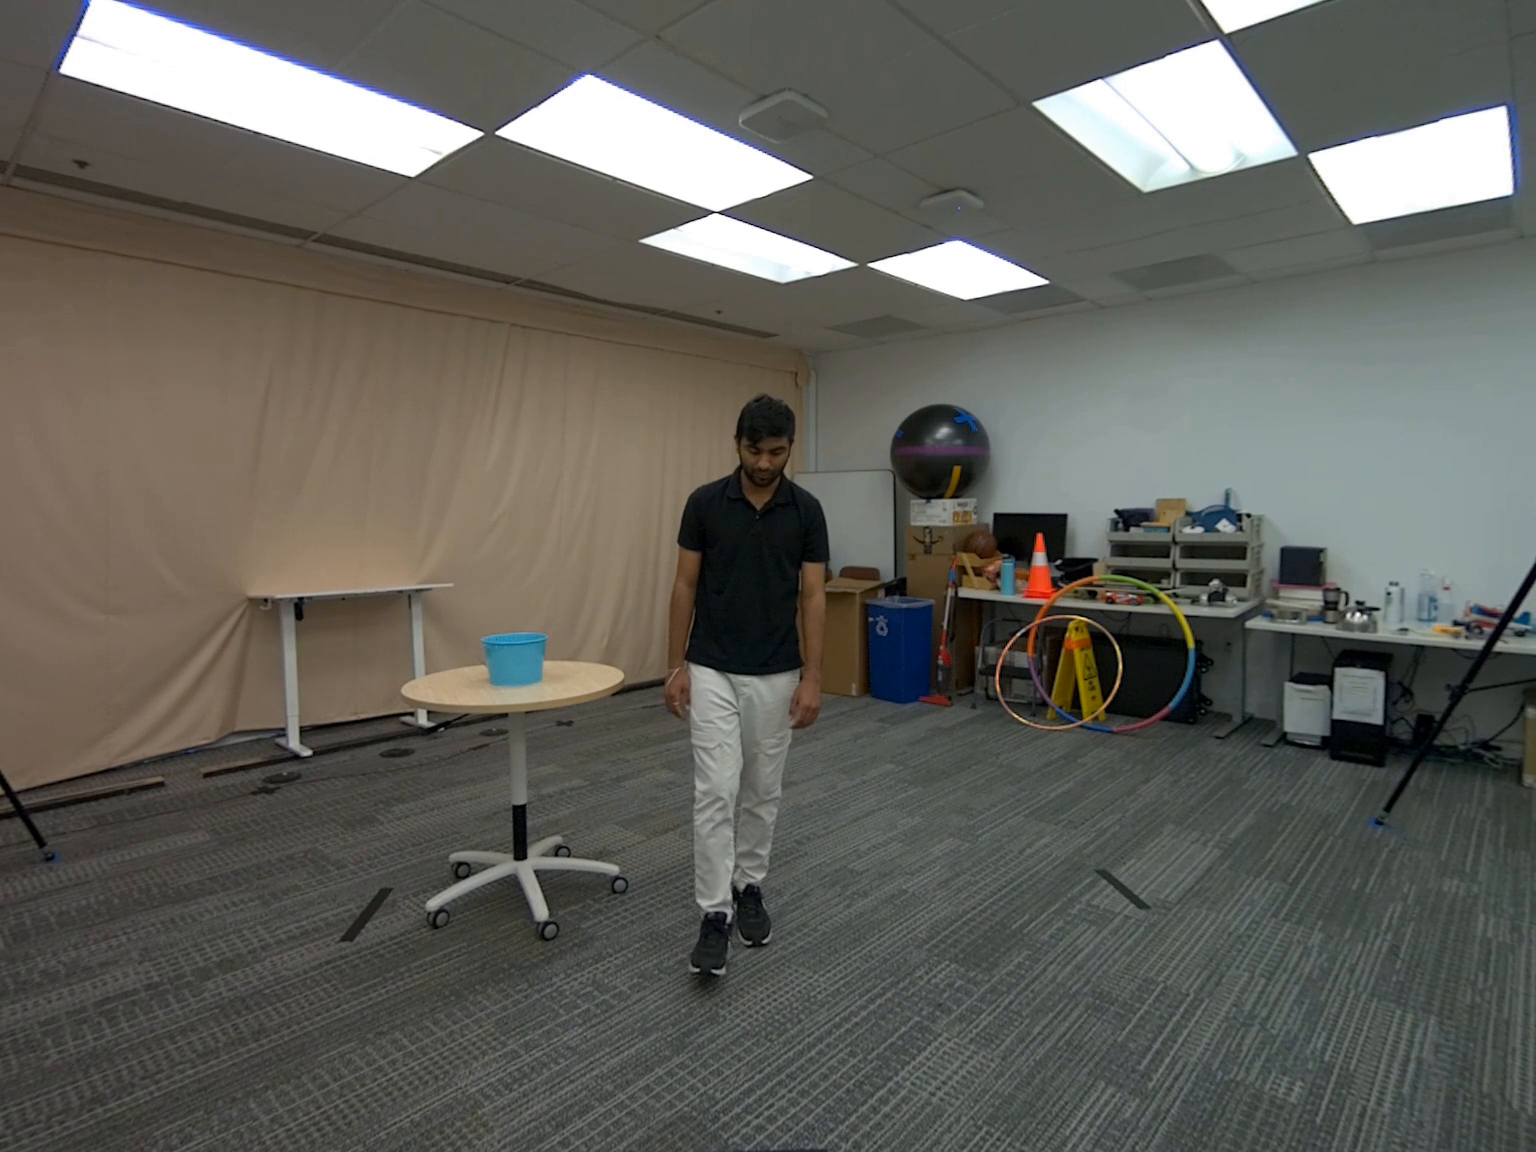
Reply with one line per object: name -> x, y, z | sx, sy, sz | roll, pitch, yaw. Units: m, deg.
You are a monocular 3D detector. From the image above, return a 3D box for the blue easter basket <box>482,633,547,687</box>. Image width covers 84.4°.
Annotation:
blue easter basket -> -0.896, 0.298, 2.985 | 0.243, 0.155, 0.244 | -1, 4, -2
